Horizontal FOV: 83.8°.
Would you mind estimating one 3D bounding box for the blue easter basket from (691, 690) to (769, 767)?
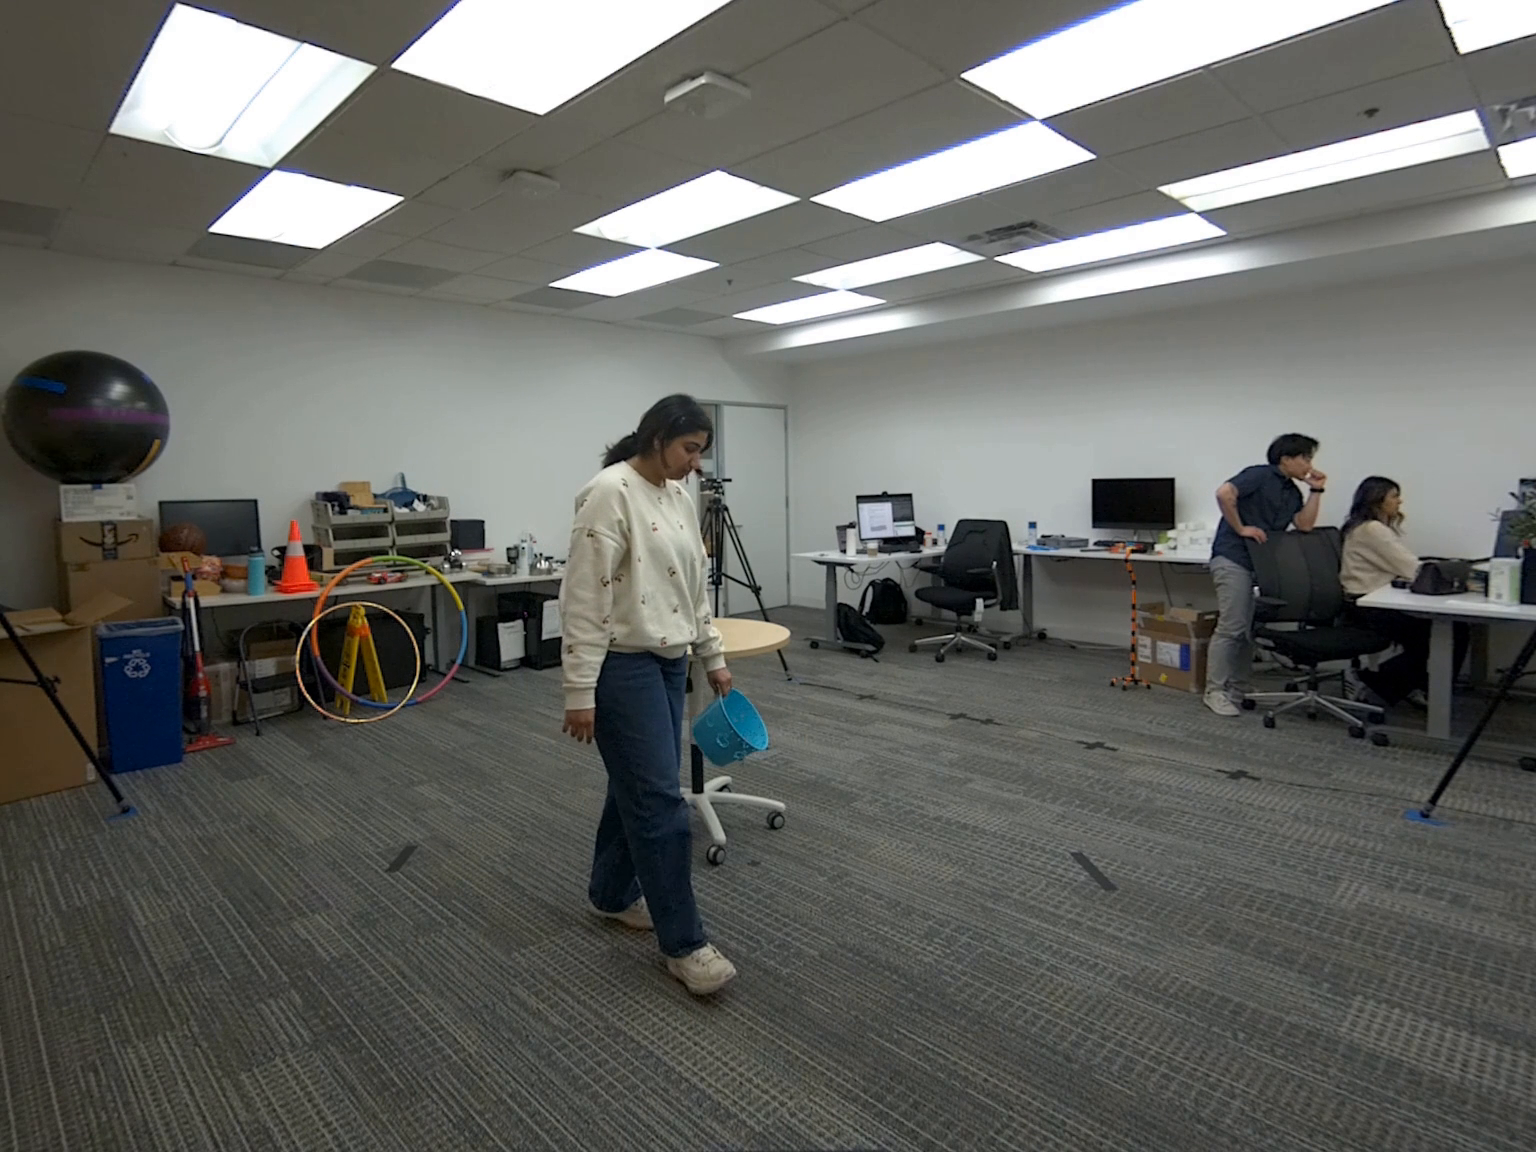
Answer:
[{"bbox_3d":[-0.124,0.507,2.770,0.156,0.246,0.241,-39,-6,16],"label":"blue easter basket"}]
